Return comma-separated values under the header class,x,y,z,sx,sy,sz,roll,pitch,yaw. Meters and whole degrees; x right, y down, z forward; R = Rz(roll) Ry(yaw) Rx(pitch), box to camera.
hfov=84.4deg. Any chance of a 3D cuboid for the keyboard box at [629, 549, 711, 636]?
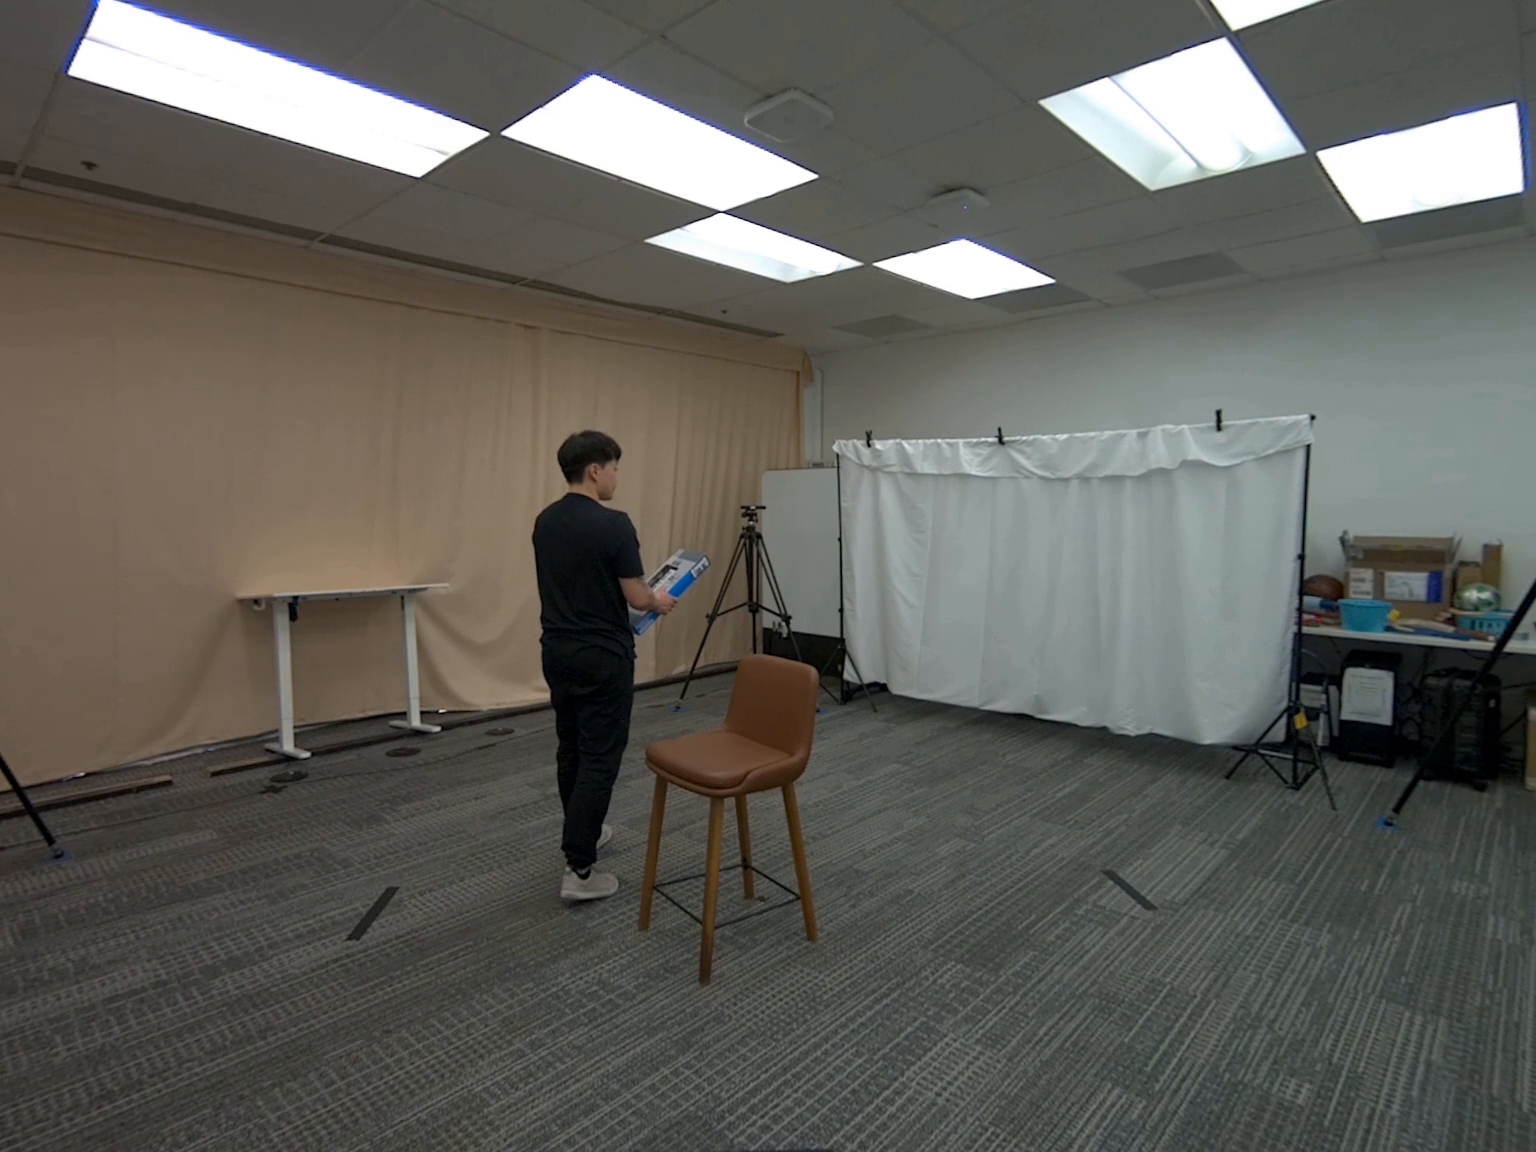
class,x,y,z,sx,sy,sz,roll,pitch,yaw
keyboard box,-0.436,0.066,3.456,0.182,0.057,0.434,15,53,47
